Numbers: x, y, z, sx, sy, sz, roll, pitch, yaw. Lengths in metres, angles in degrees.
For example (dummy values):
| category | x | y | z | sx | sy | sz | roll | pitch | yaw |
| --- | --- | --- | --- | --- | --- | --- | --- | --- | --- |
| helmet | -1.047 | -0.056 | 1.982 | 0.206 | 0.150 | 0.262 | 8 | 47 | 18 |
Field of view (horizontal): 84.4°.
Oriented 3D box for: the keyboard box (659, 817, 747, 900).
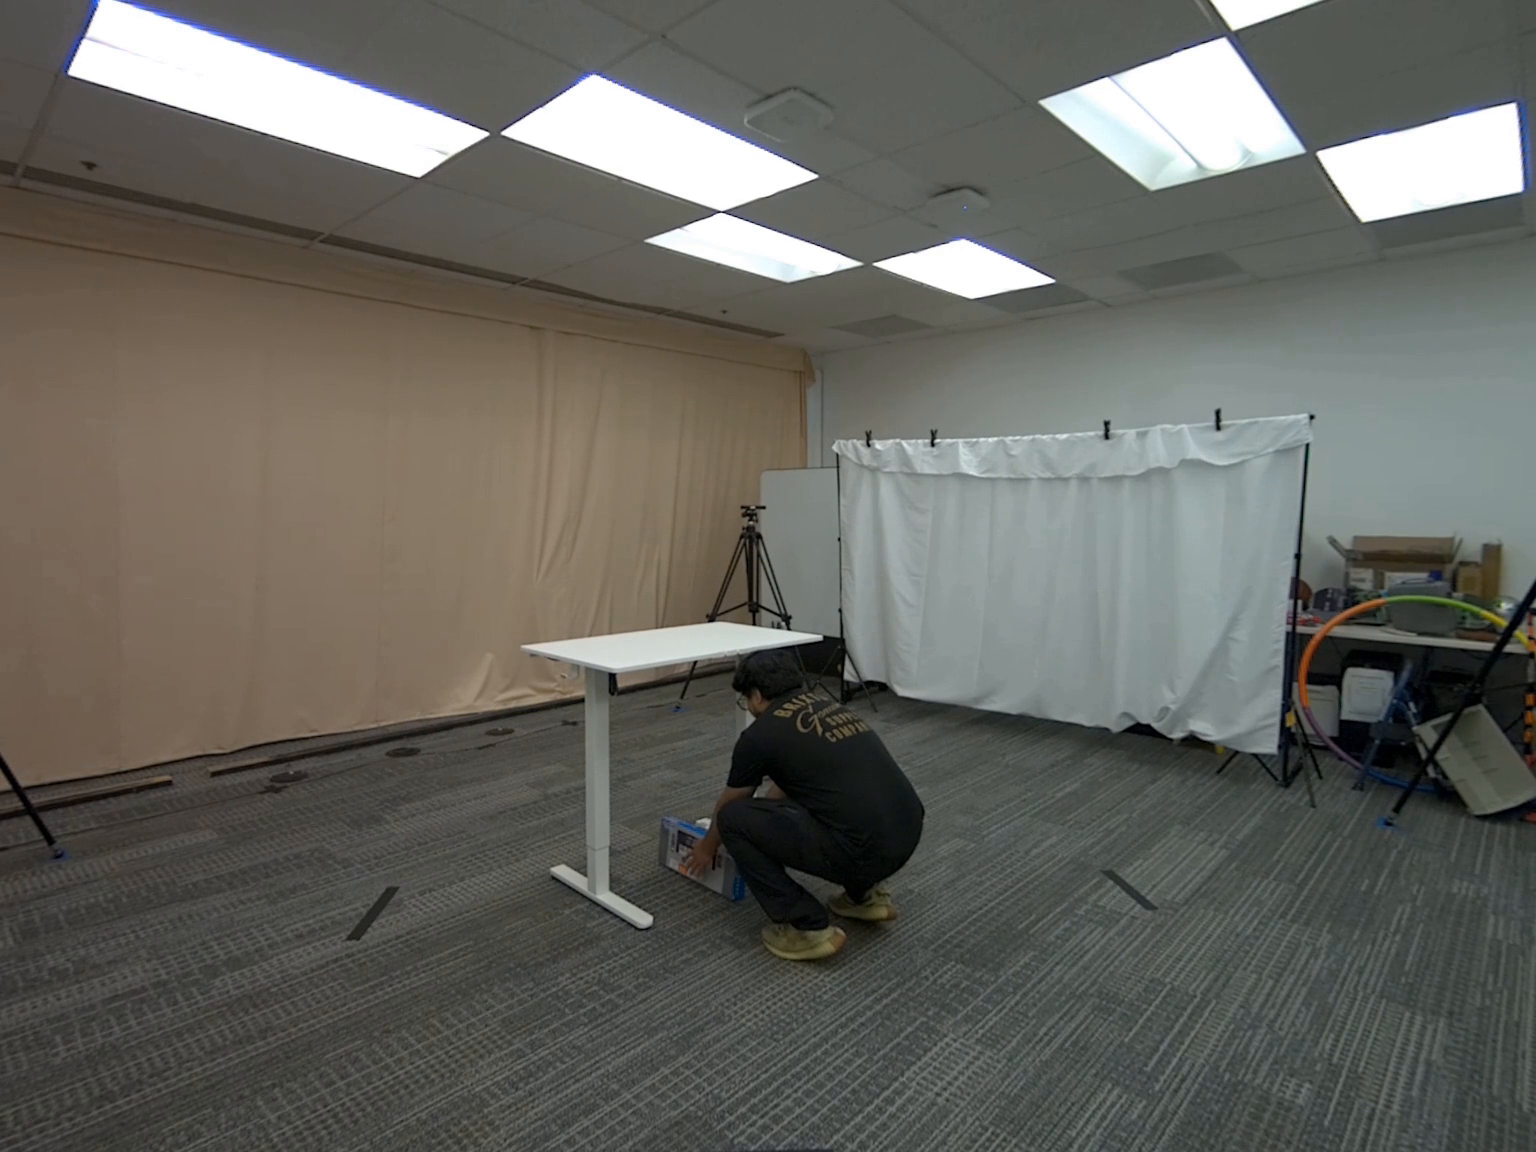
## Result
| category | x | y | z | sx | sy | sz | roll | pitch | yaw |
| --- | --- | --- | --- | --- | --- | --- | --- | --- | --- |
| keyboard box | -0.250 | 1.044 | 3.139 | 0.057 | 0.176 | 0.451 | 7 | -1 | -43 |
